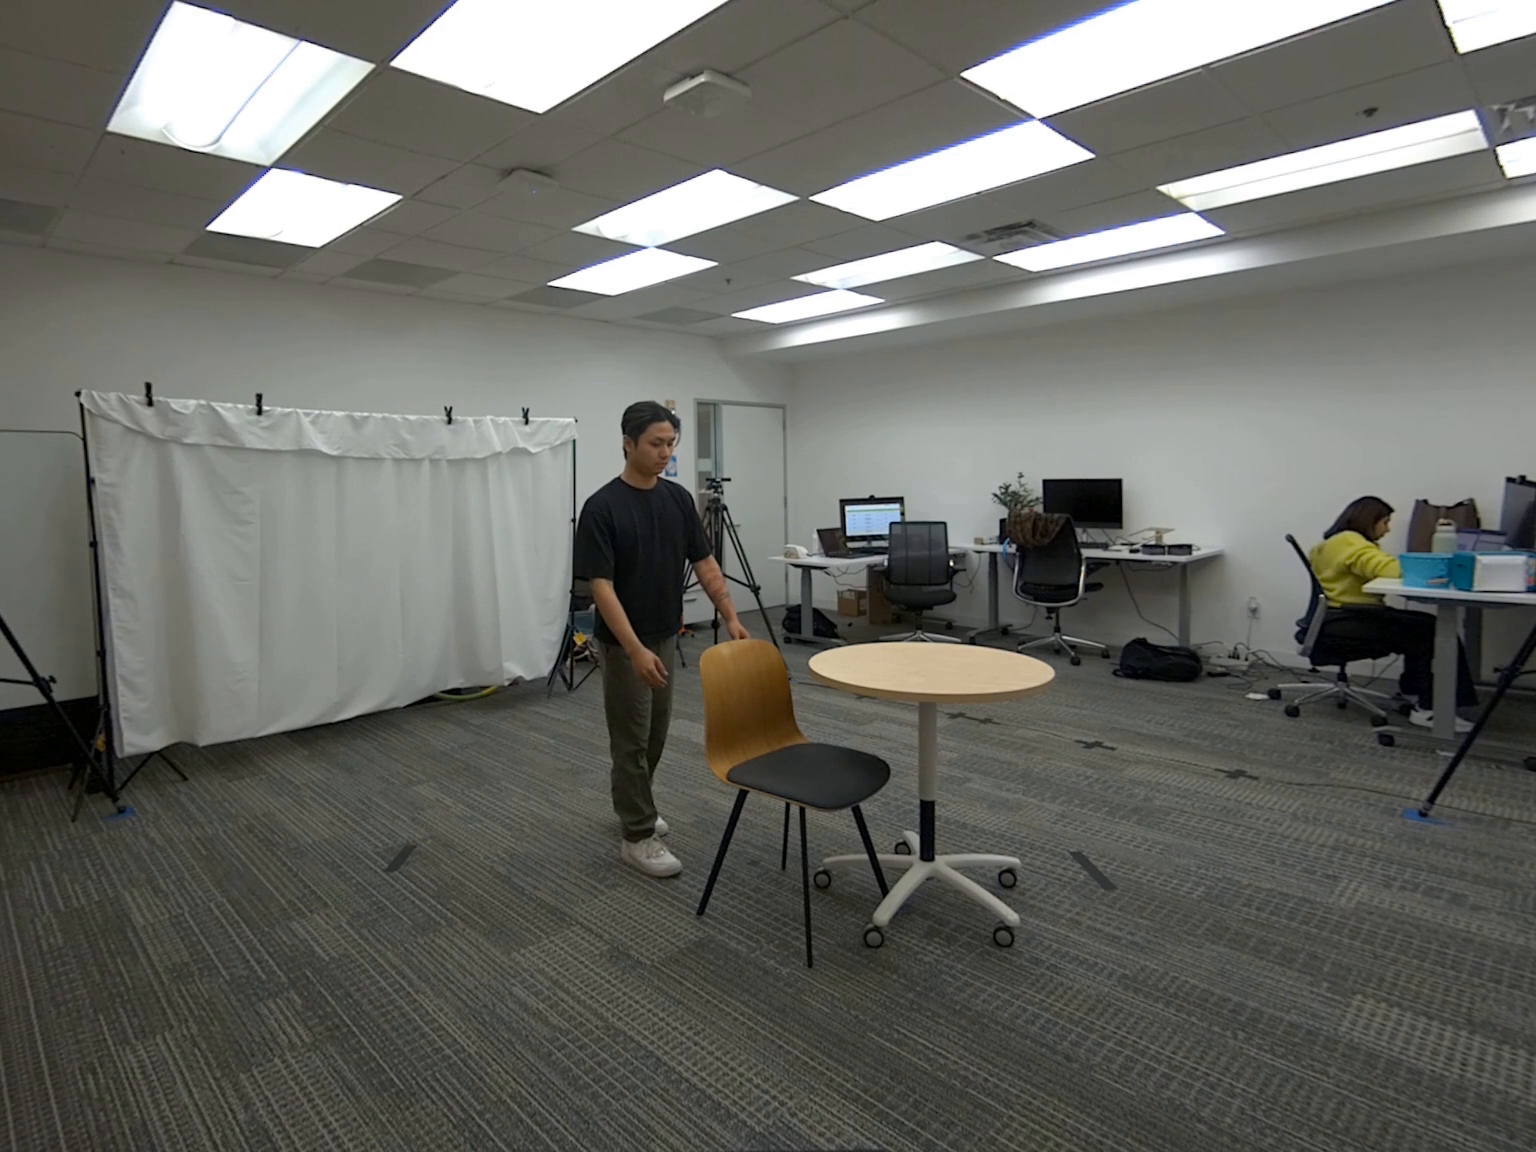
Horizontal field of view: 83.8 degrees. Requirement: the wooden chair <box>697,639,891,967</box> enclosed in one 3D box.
[{"bbox_3d":[0.090,0.655,2.711,0.537,0.877,0.466,-4,2,41],"label":"wooden chair"}]
